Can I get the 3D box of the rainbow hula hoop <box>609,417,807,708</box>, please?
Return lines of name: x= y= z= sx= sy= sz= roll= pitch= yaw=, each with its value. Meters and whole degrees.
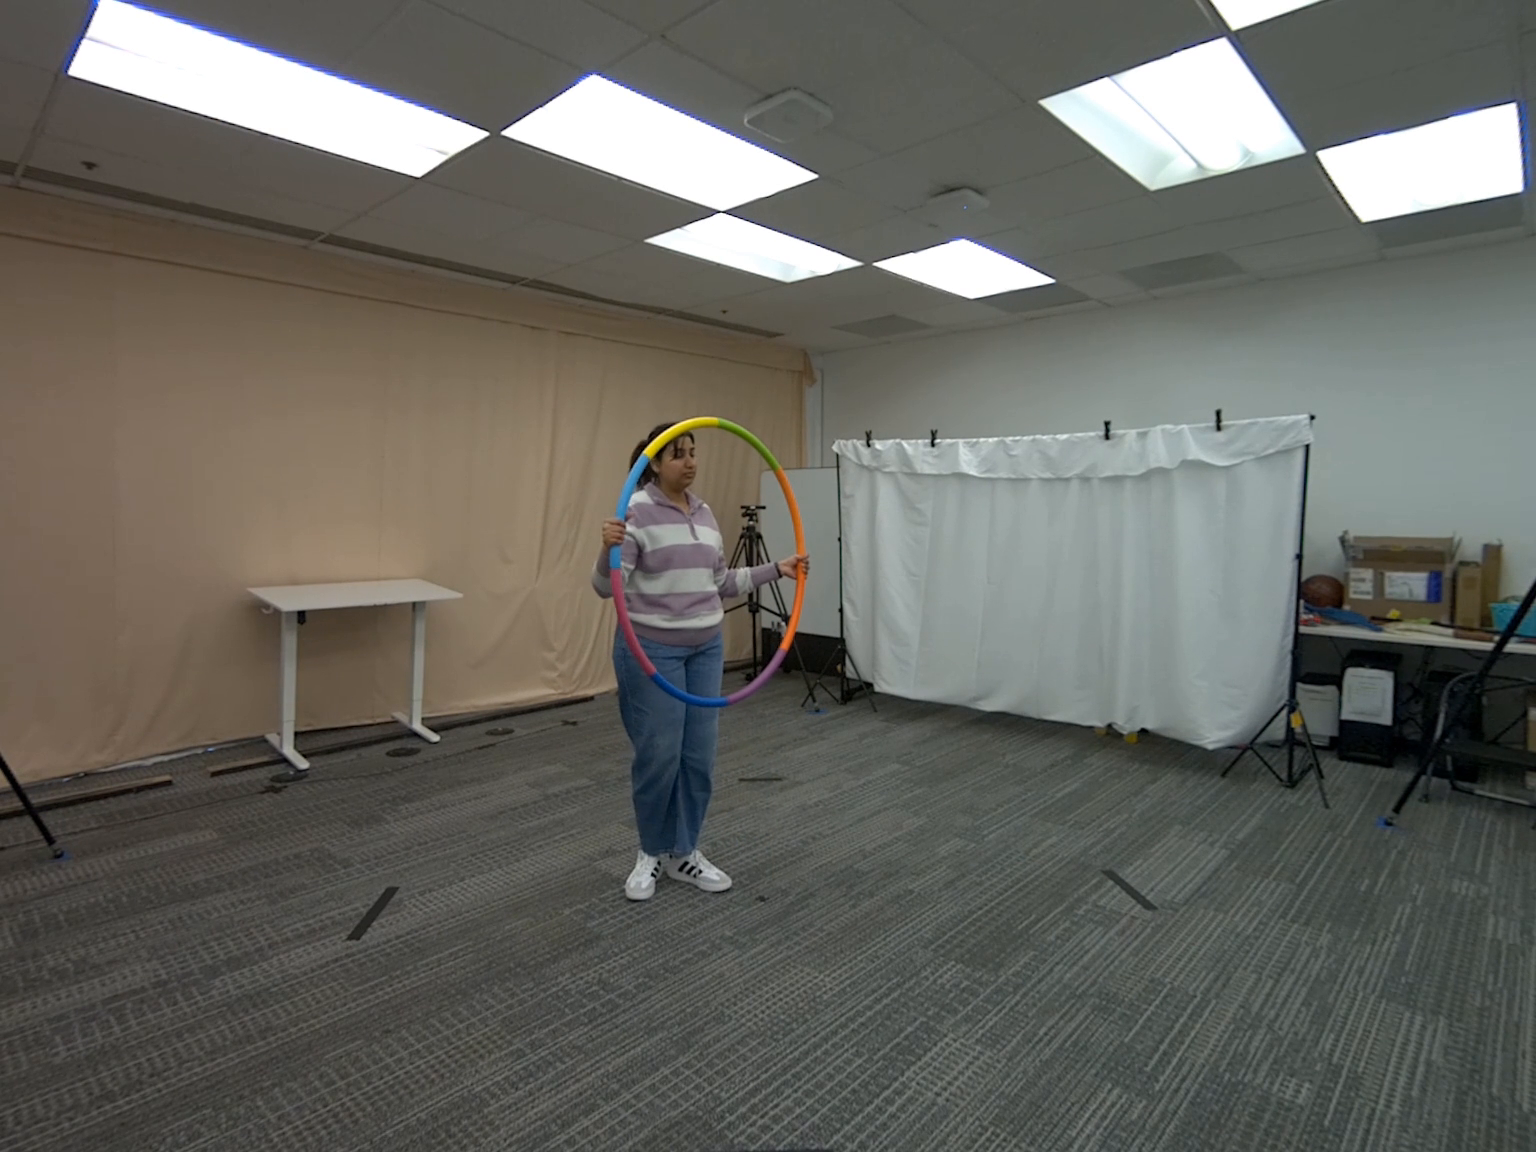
rainbow hula hoop: x=-0.165 y=-0.050 z=2.907 sx=0.036 sy=0.978 sz=0.949 roll=-2 pitch=1 yaw=41
